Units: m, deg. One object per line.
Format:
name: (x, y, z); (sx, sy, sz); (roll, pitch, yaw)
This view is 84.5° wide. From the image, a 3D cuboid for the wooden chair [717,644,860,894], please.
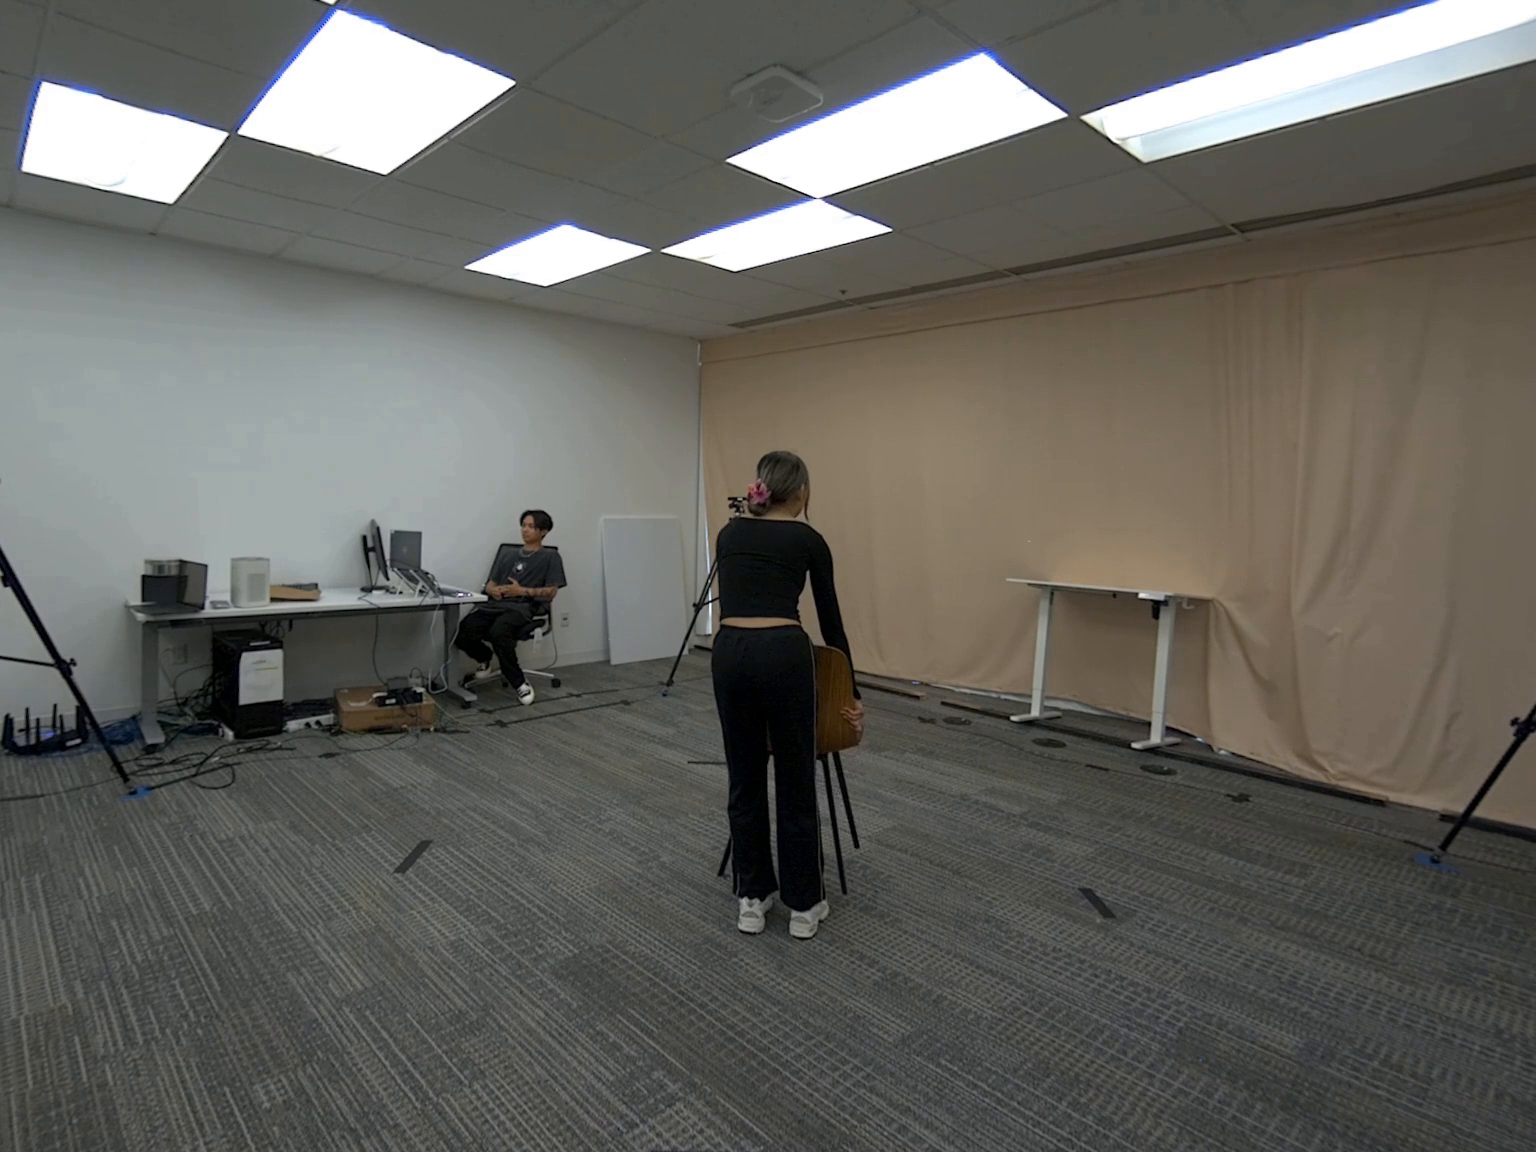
wooden chair: (0.101, 0.623, 3.092); (0.483, 0.874, 0.519); (2, 6, 13)
